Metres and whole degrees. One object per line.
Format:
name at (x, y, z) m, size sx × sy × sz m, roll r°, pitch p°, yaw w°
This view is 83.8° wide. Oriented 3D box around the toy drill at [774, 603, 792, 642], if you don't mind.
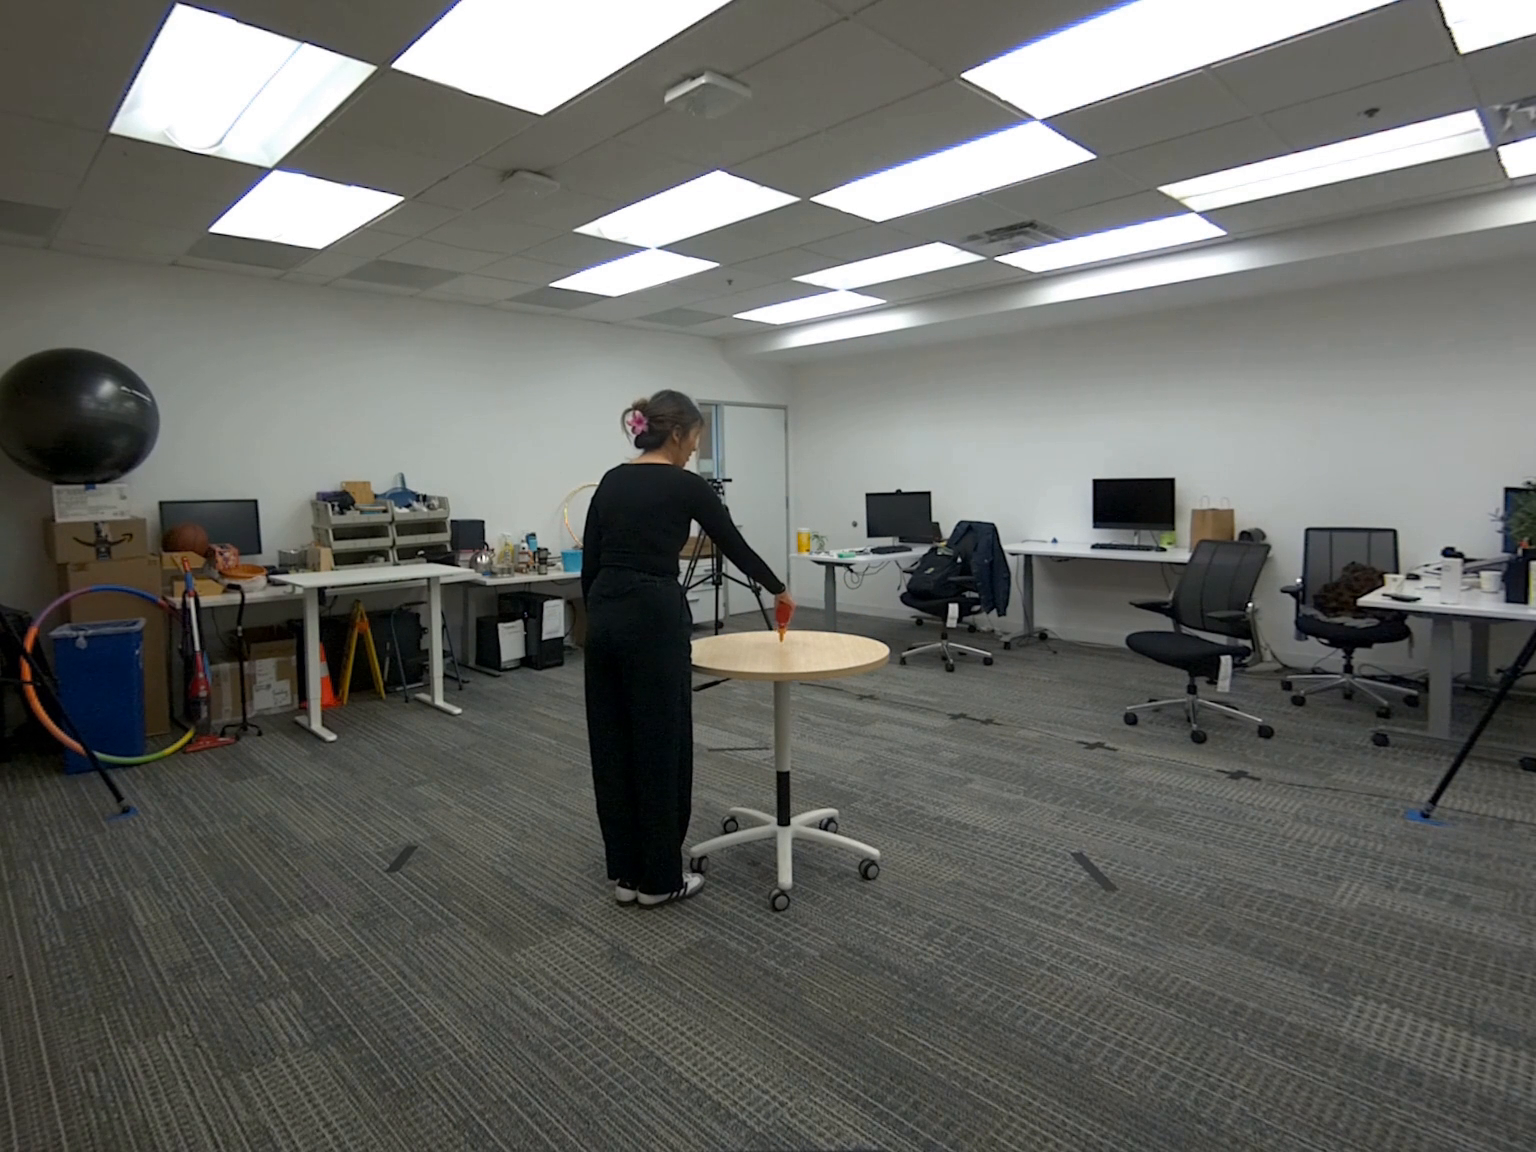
toy drill at (0.066, 0.164, 3.113) m, size 0.061 × 0.169 × 0.145 m, roll 7°, pitch 6°, yaw 5°
